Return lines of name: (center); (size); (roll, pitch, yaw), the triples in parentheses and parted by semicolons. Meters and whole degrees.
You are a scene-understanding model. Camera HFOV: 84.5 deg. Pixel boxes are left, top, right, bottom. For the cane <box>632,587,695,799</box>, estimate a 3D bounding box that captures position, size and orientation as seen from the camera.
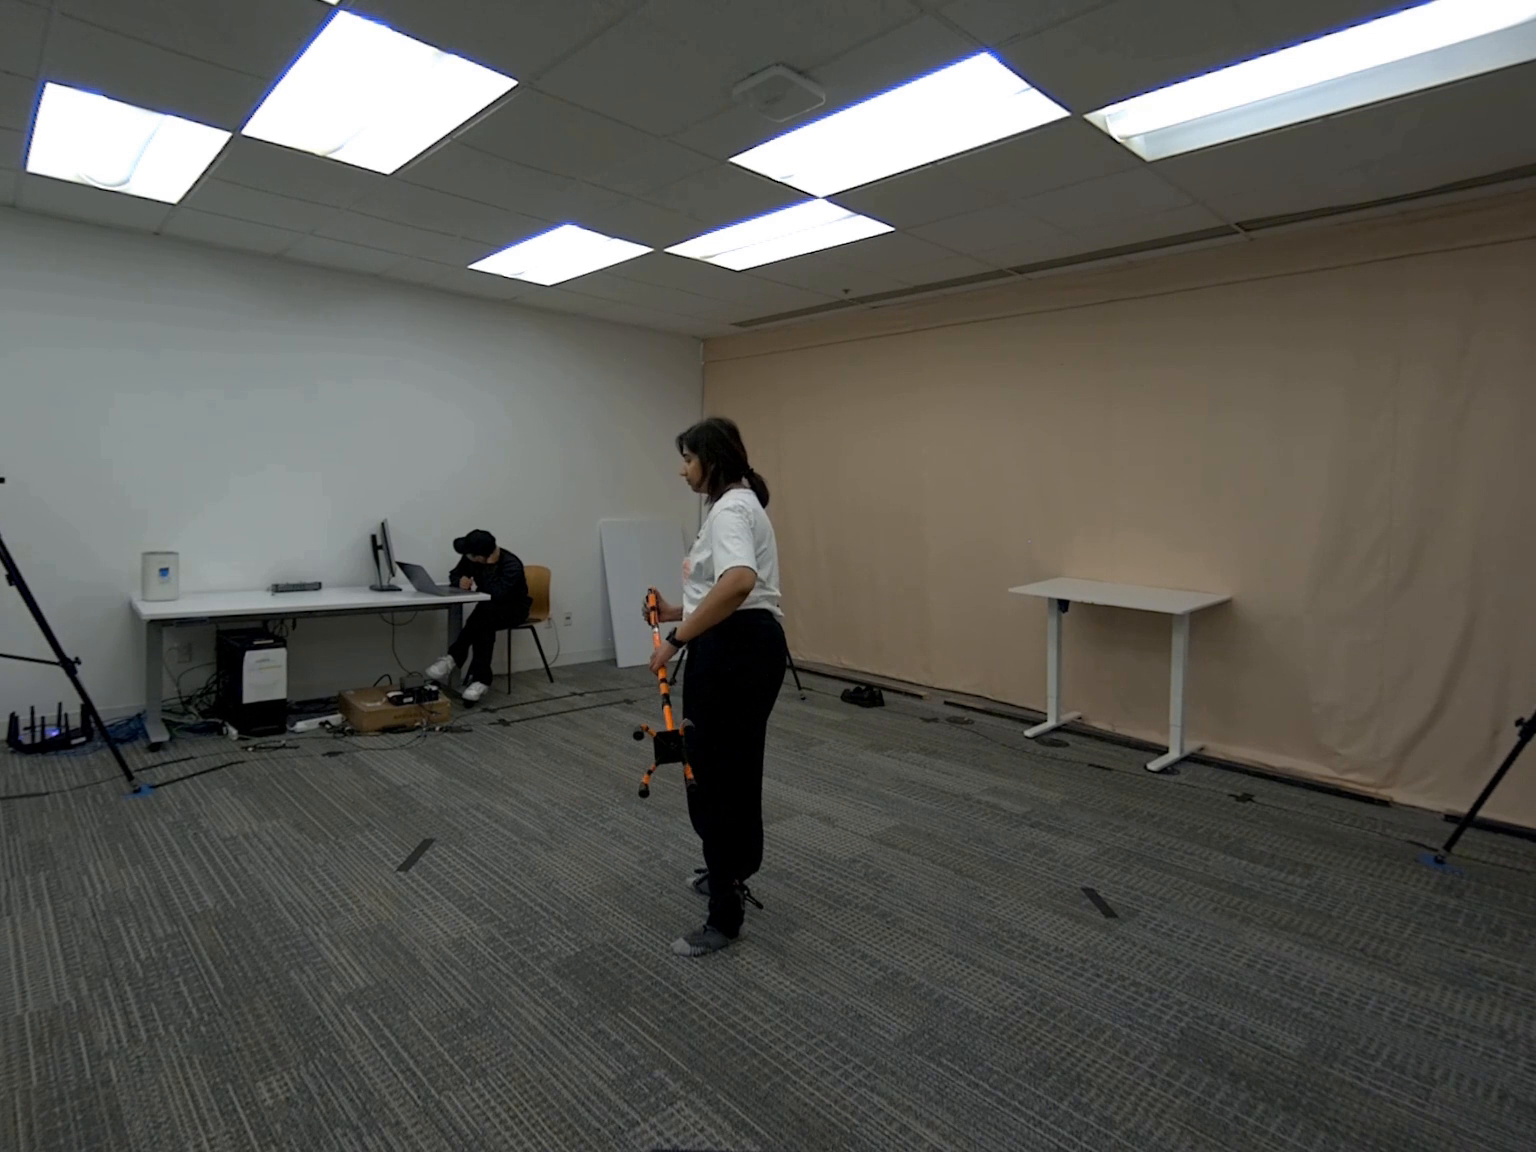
cane: (-0.344, 0.279, 2.507); (0.151, 0.203, 0.928); (-7, 26, -6)
